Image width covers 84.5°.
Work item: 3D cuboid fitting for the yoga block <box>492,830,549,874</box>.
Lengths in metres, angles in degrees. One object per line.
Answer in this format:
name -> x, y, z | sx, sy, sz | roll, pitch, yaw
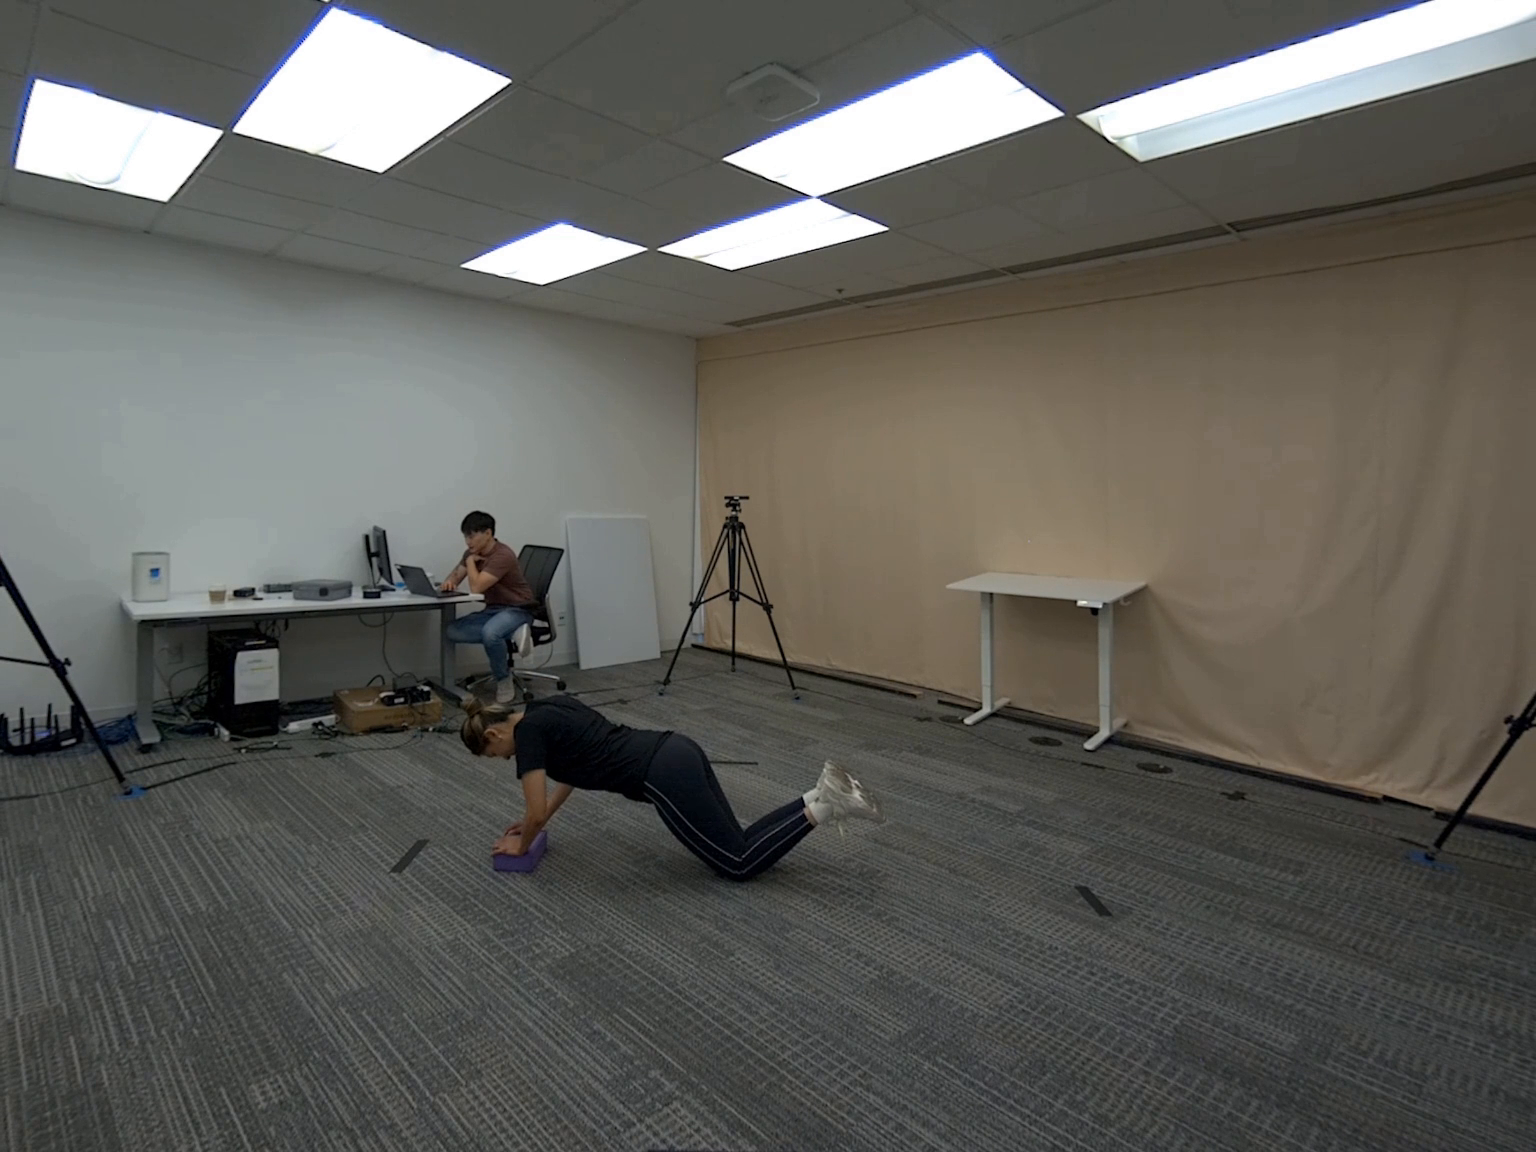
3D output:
yoga block -> -0.937, 1.028, 3.201 | 0.149, 0.076, 0.230 | -3, 5, 1
